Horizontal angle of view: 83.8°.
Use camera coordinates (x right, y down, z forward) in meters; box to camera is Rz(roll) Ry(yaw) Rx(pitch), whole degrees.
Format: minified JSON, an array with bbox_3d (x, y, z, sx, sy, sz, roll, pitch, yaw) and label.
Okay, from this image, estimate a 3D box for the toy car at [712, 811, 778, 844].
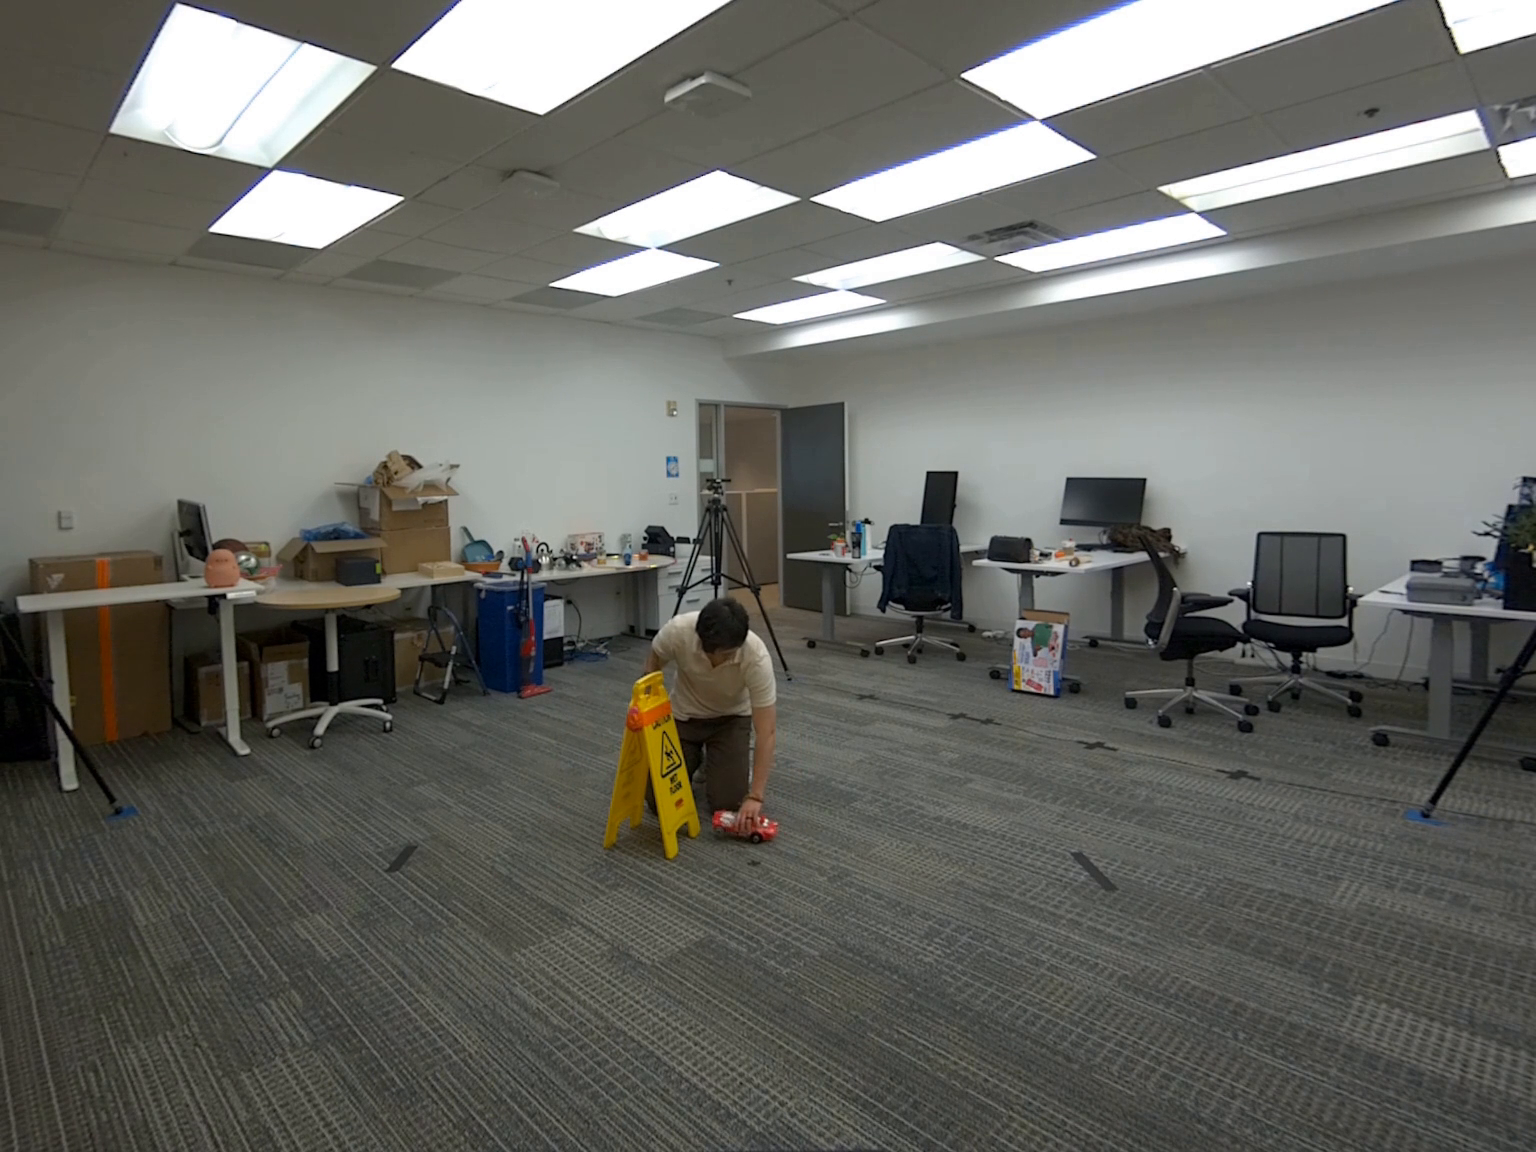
[{"bbox_3d":[-0.089,0.967,3.317,0.257,0.082,0.130,-1,12,8],"label":"toy car"}]
